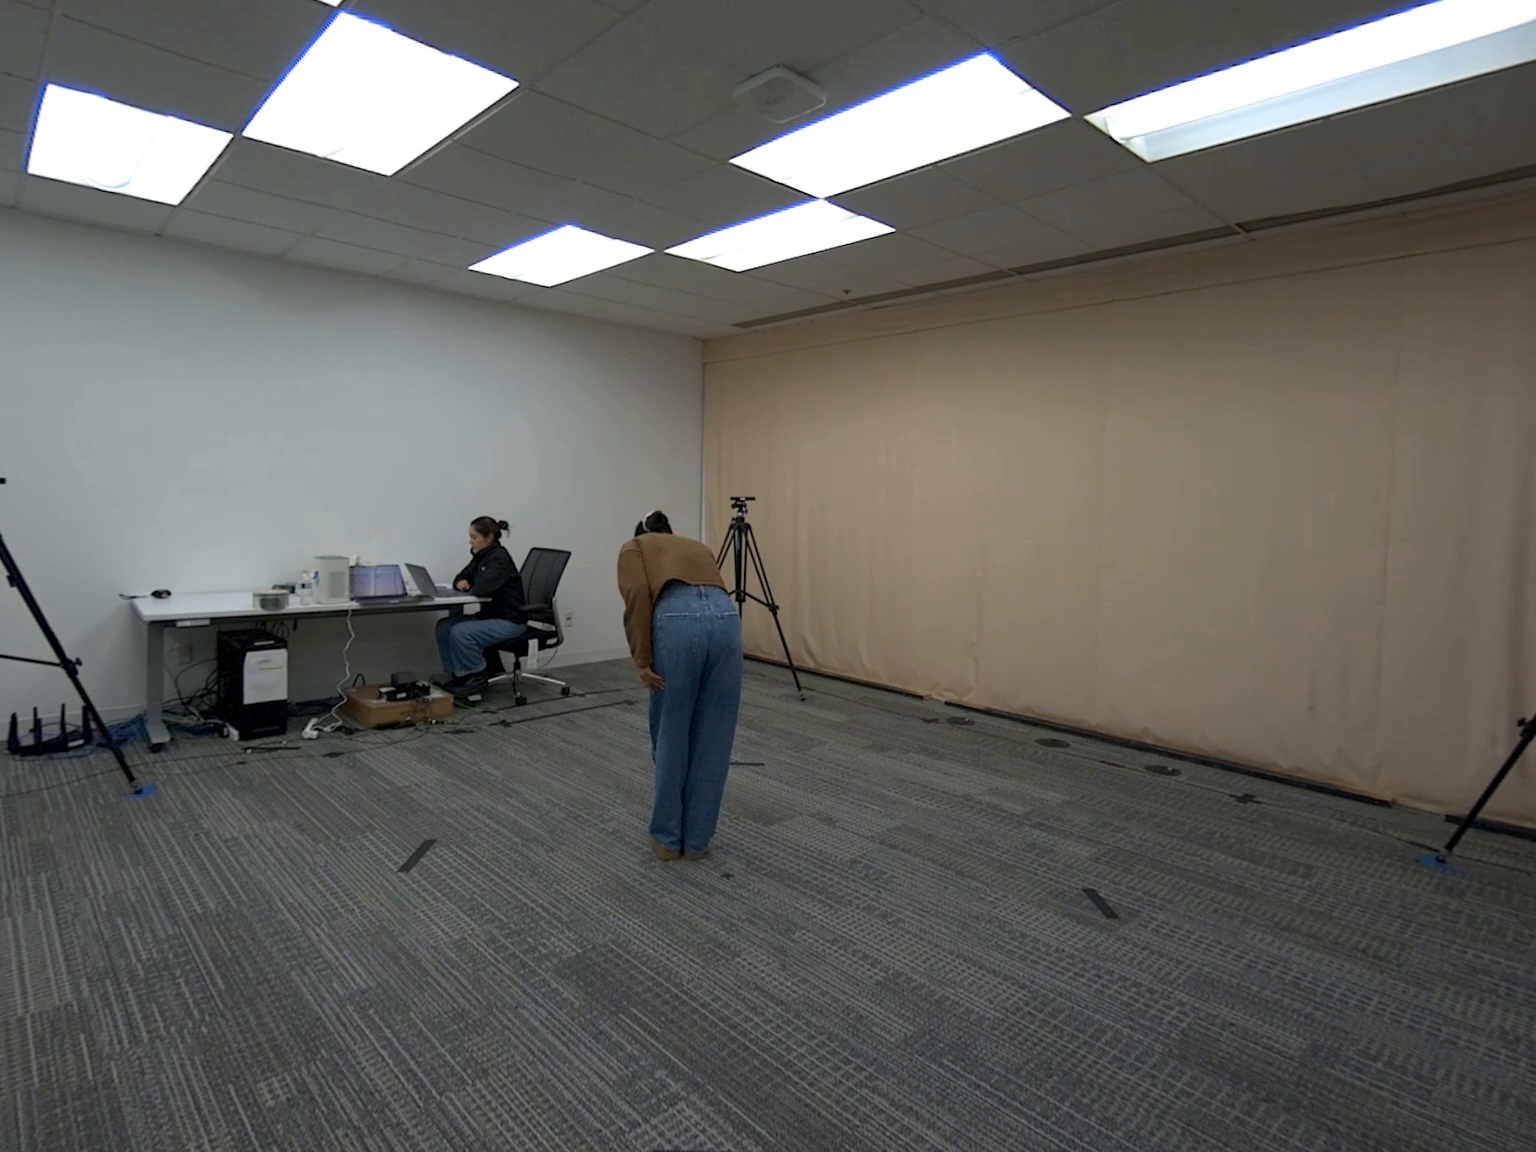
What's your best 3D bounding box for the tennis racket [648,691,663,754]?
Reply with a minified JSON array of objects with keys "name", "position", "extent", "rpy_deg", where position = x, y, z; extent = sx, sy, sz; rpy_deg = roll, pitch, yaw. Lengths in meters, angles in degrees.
[{"name":"tennis racket","position":[-0.376,0.694,3.639],"extent":[0.213,0.429,0.032],"rpy_deg":[16,18,-3]}]
